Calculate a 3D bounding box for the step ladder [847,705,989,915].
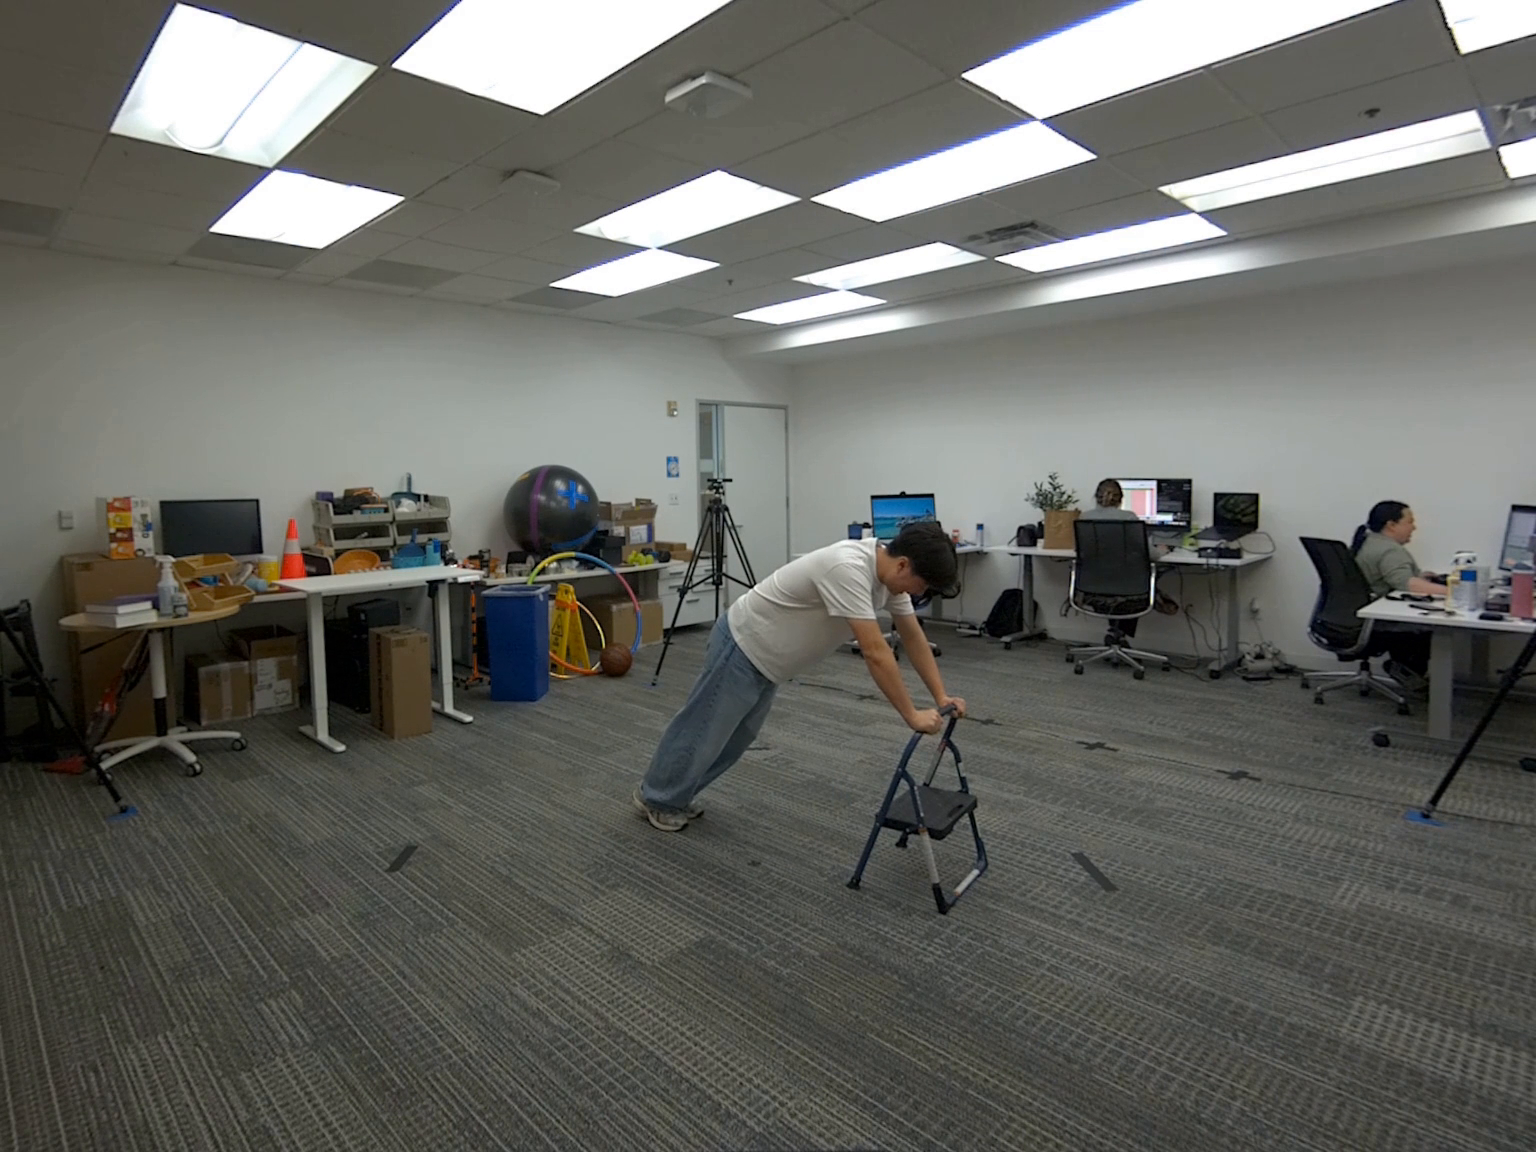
[{"bbox_3d":[0.532,0.749,2.958,0.359,0.604,0.420,3,6,33],"label":"step ladder"}]
